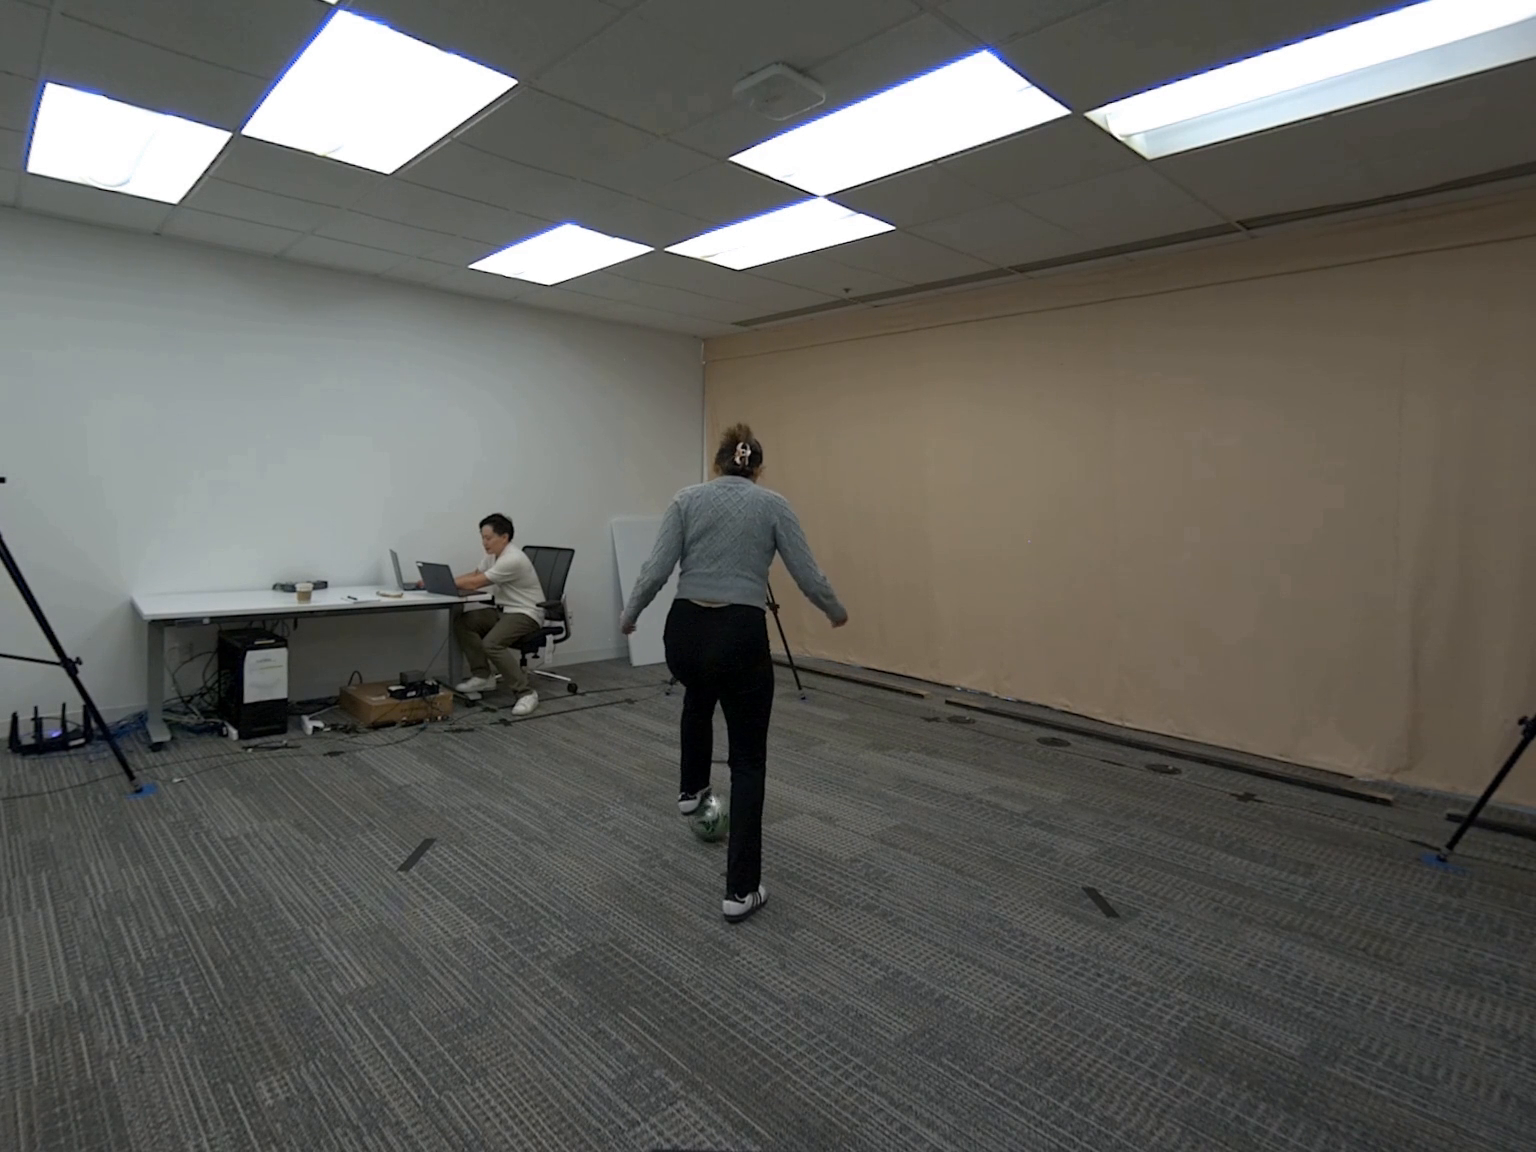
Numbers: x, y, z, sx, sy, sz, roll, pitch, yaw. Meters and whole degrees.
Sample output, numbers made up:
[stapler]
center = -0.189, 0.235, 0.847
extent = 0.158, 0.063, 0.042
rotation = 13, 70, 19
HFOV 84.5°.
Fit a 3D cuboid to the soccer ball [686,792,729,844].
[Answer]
[soccer ball]
center = -0.259, 0.981, 3.417
extent = 0.187, 0.187, 0.188
rotation = 1, 4, -1
